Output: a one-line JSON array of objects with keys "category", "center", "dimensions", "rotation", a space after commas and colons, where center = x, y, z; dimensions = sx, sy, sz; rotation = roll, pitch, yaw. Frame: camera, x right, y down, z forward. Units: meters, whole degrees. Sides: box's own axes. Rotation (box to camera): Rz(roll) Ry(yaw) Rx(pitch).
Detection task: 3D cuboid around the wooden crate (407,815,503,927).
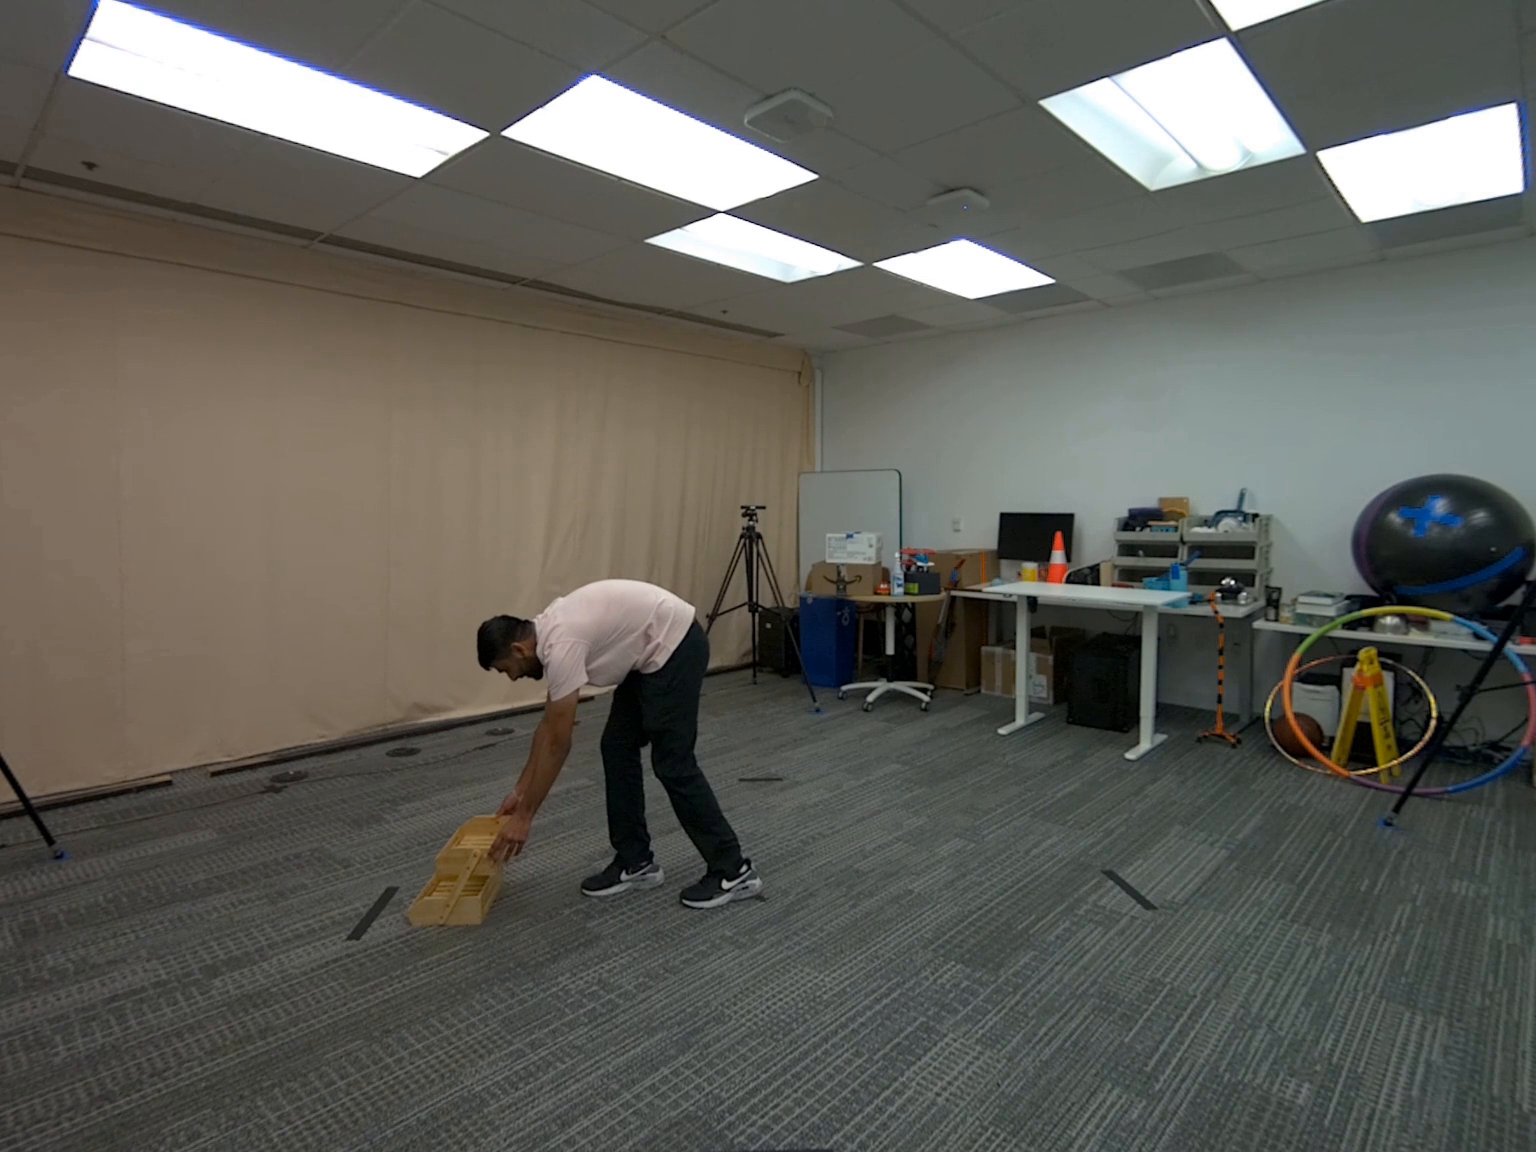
[{"category": "wooden crate", "center": [-1.070, 1.025, 2.958], "dimensions": [0.301, 0.273, 0.325], "rotation": [0, 3, -3]}]
